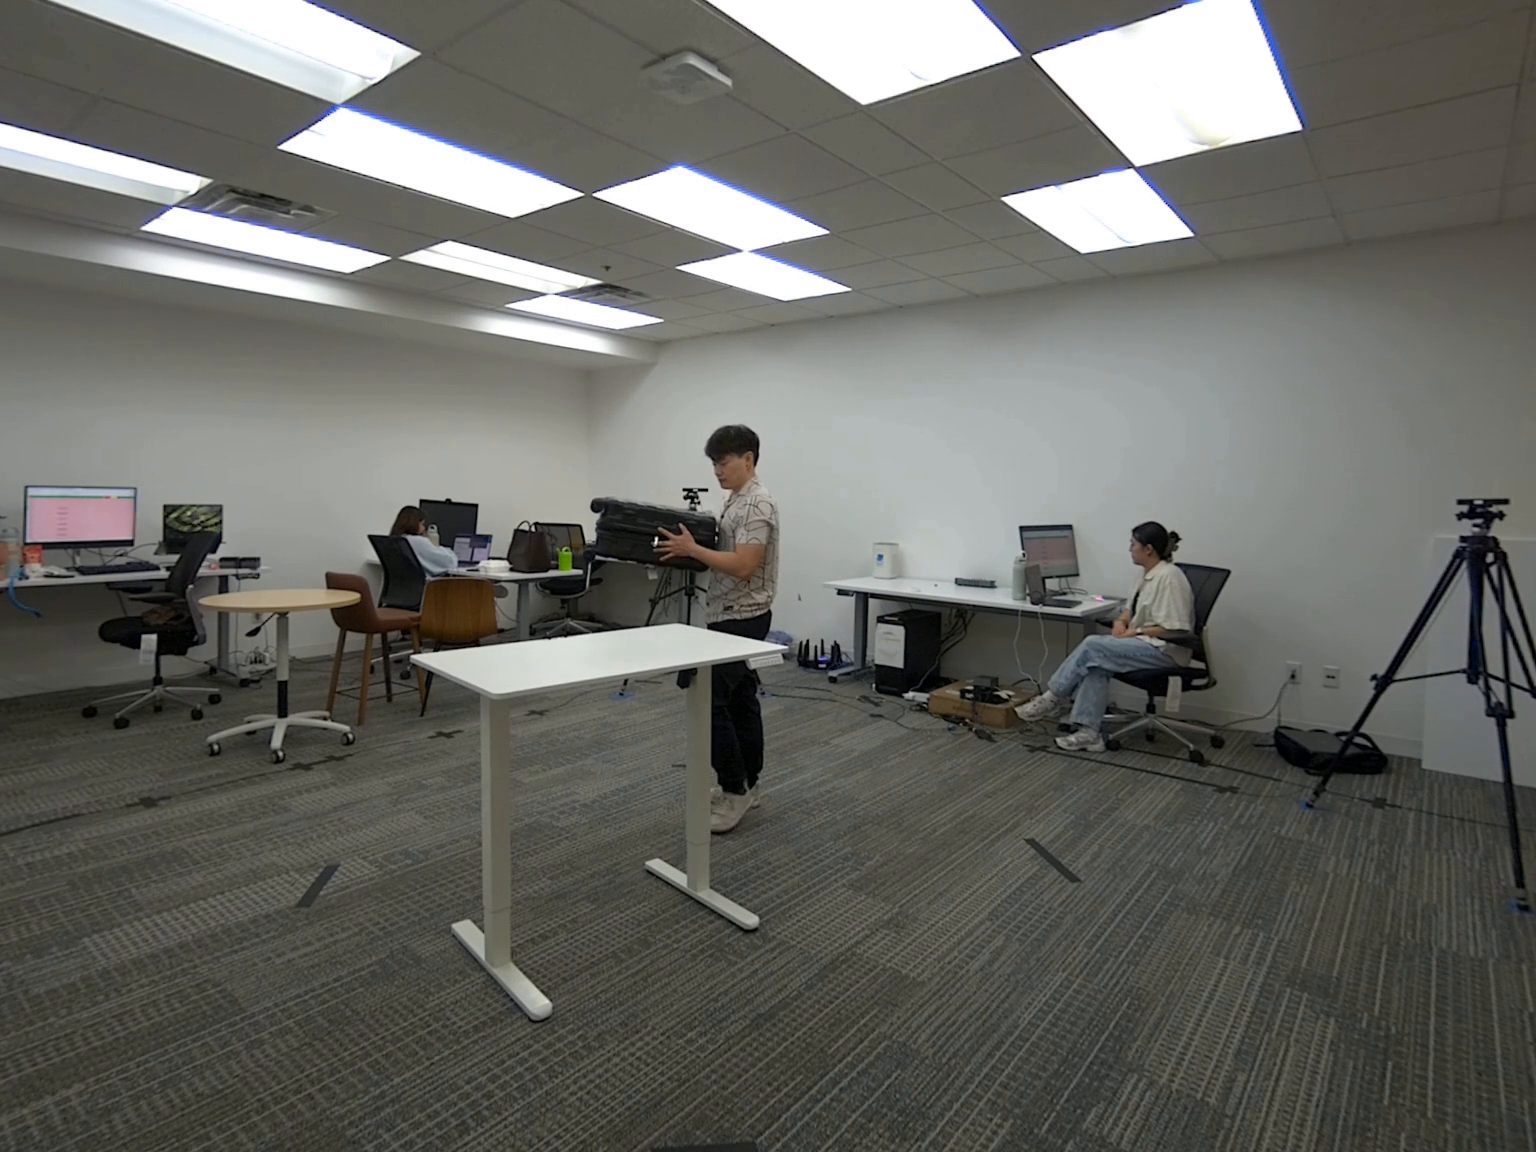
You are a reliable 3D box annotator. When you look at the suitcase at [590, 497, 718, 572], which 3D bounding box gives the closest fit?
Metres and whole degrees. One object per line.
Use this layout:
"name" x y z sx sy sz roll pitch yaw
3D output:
"suitcase" -0.516 -0.184 3.659 0.543 0.248 0.380 8 3 -10
